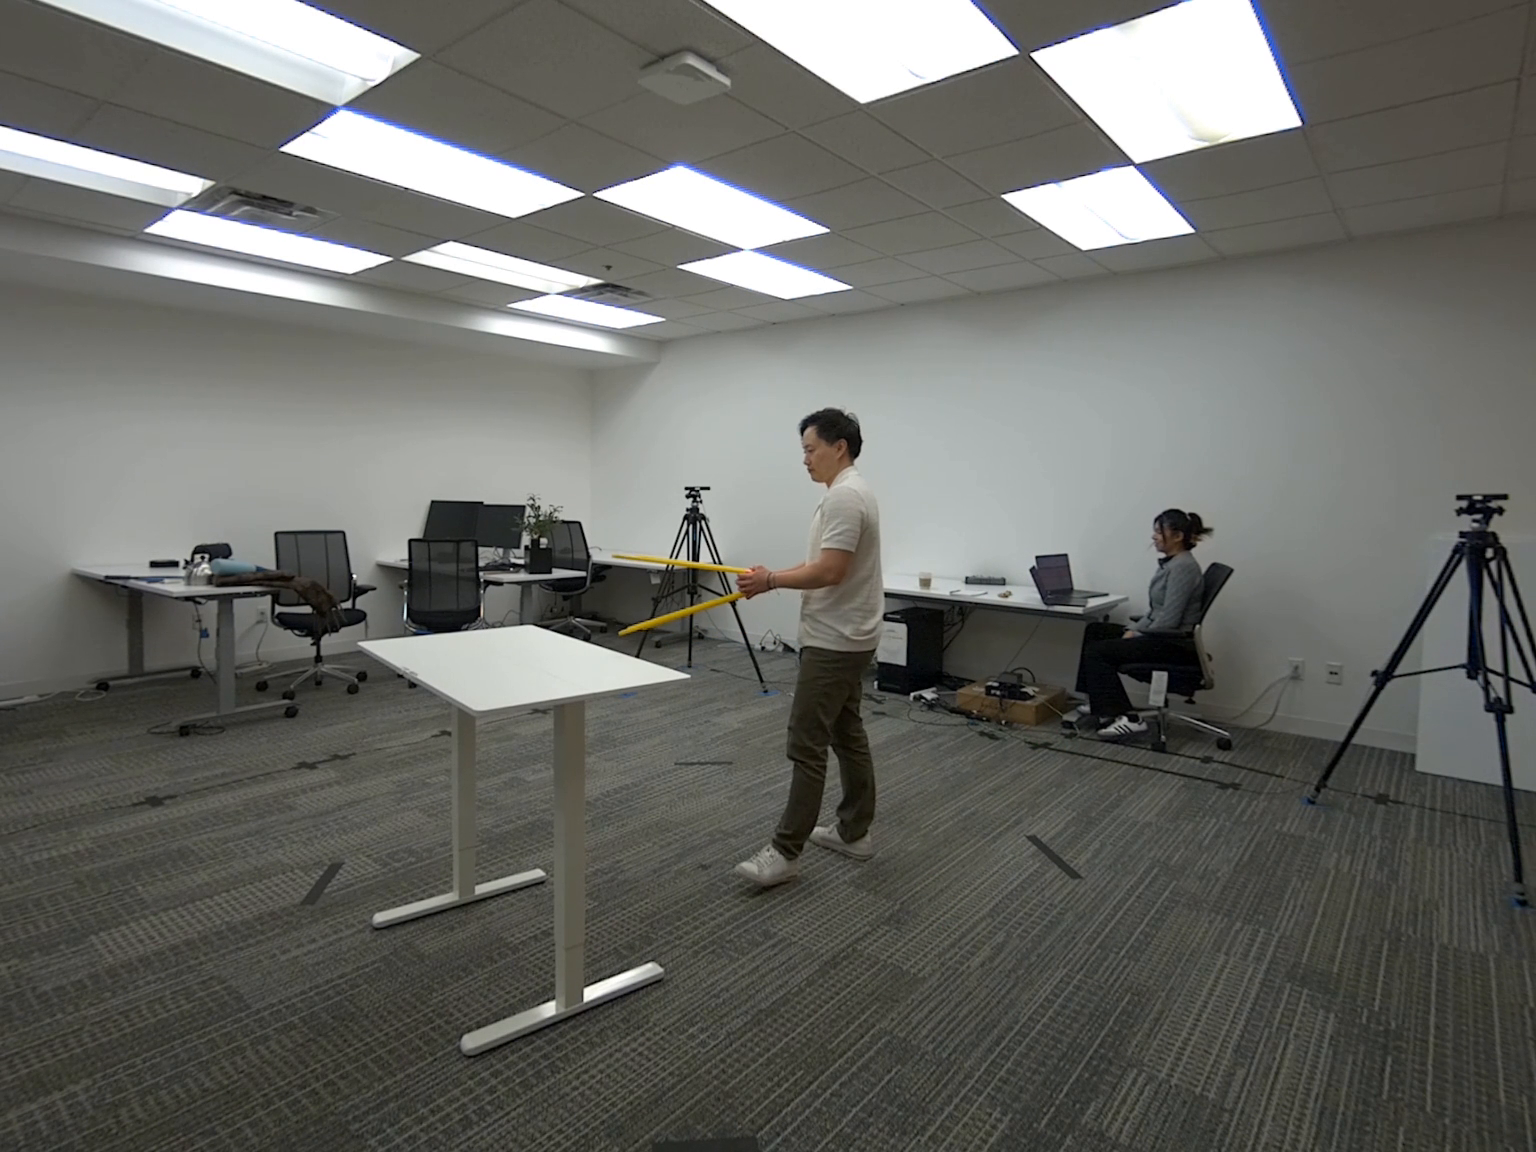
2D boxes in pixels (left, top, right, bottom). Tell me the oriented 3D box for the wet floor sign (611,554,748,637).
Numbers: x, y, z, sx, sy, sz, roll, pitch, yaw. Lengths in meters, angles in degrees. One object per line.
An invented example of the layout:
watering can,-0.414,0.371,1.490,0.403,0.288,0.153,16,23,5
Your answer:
wet floor sign,-0.252,0.032,3.207,0.649,0.290,0.280,-6,-1,5
